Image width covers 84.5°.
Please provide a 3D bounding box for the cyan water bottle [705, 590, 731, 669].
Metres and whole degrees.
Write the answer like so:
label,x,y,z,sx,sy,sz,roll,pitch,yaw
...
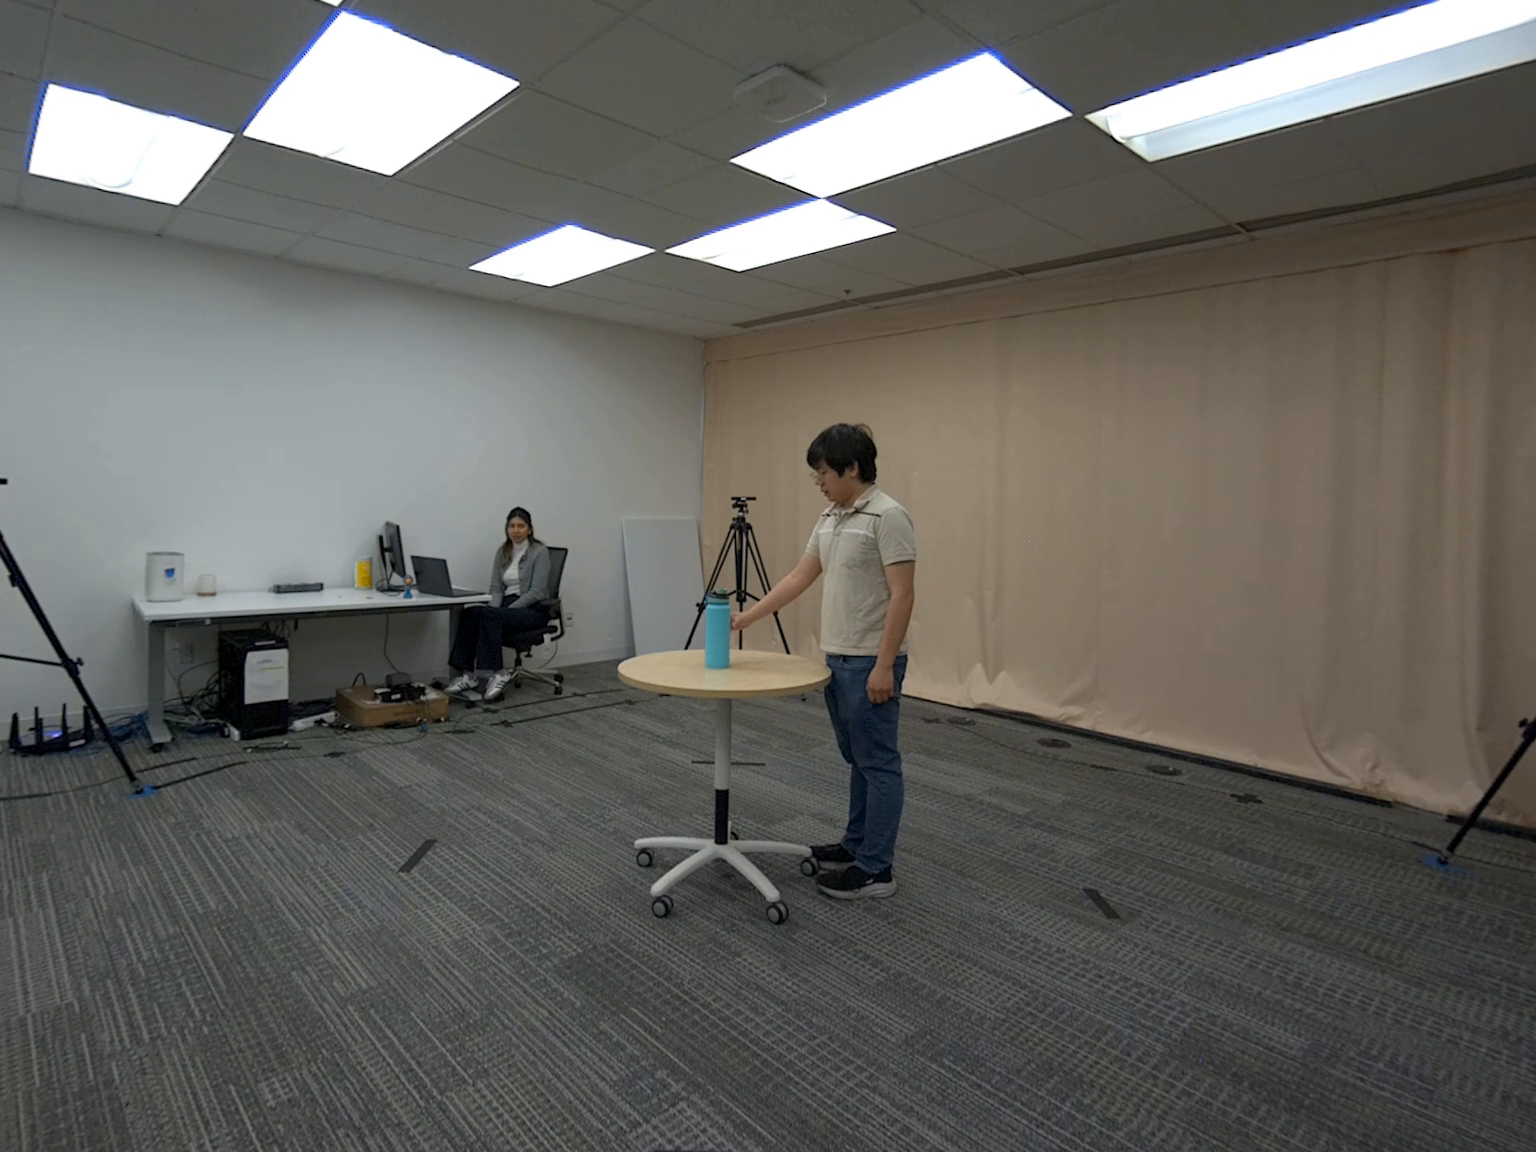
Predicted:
label,x,y,z,sx,sy,sz,roll,pitch,yaw
cyan water bottle,-0.185,0.186,3.039,0.092,0.283,0.092,1,1,-1
